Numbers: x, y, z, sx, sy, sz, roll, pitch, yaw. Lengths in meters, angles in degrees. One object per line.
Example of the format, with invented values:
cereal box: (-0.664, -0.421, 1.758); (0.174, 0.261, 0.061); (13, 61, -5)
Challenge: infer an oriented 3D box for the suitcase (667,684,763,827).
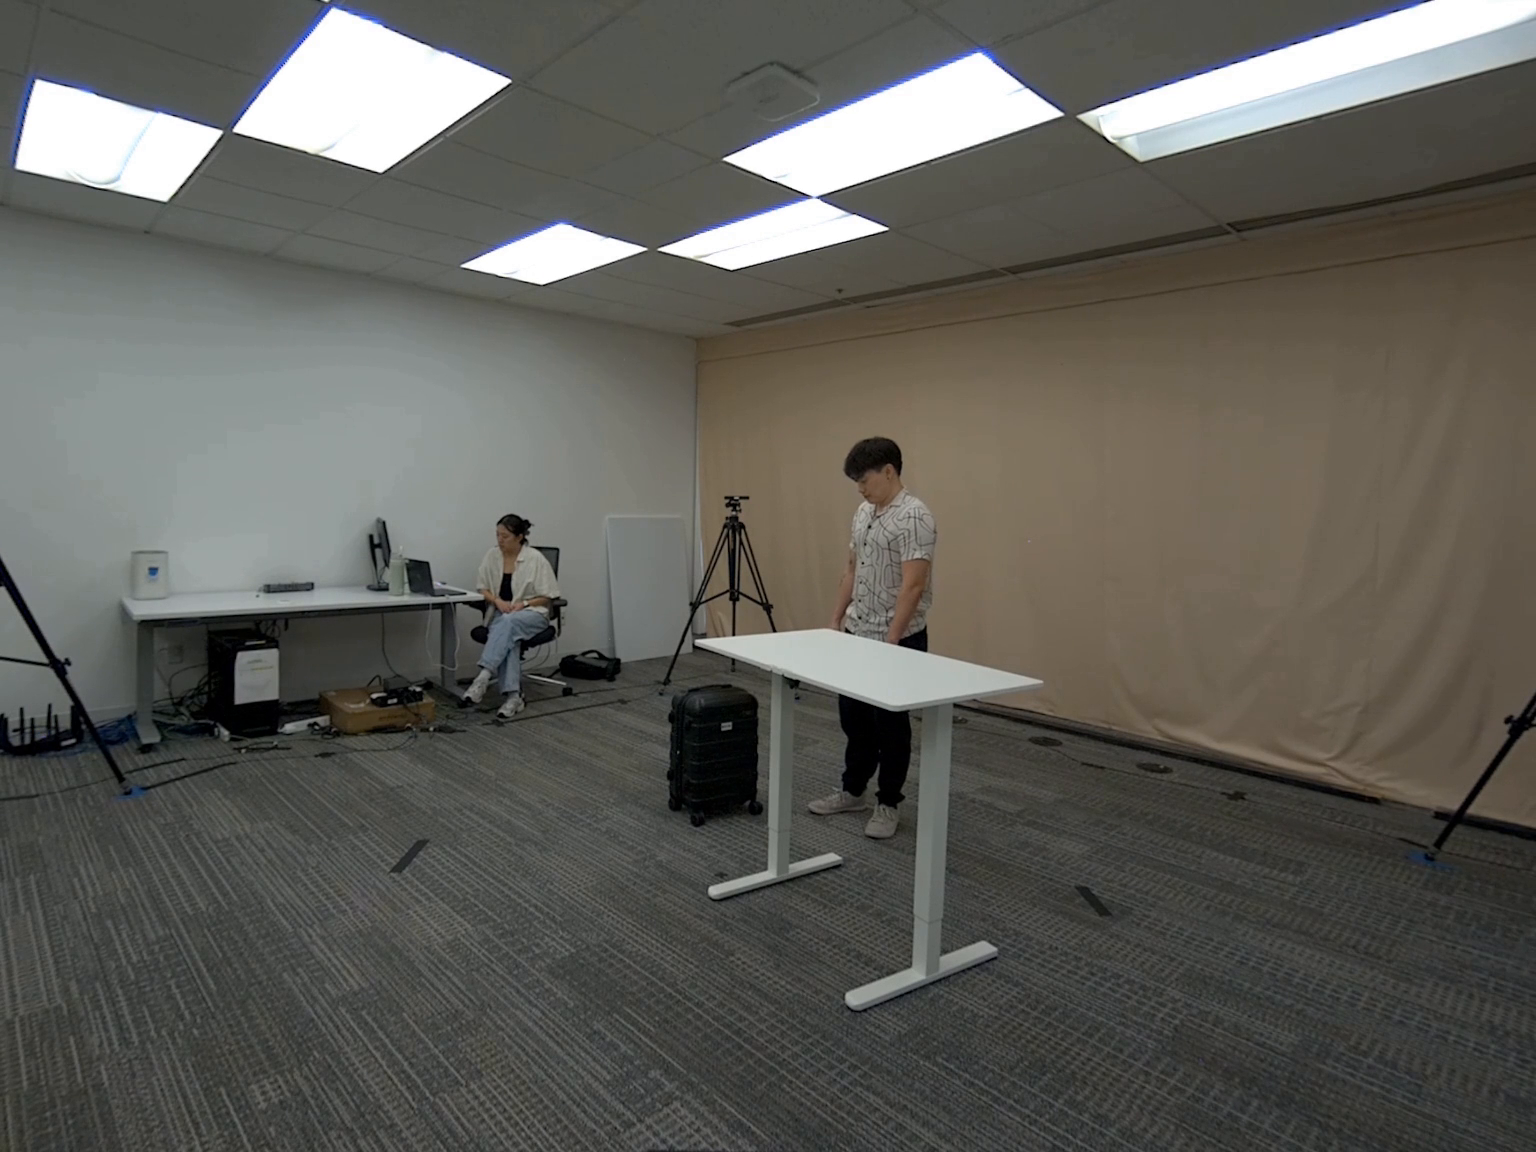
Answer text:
suitcase: (-0.248, 0.766, 3.740); (0.367, 0.548, 0.254); (-1, 3, -34)
